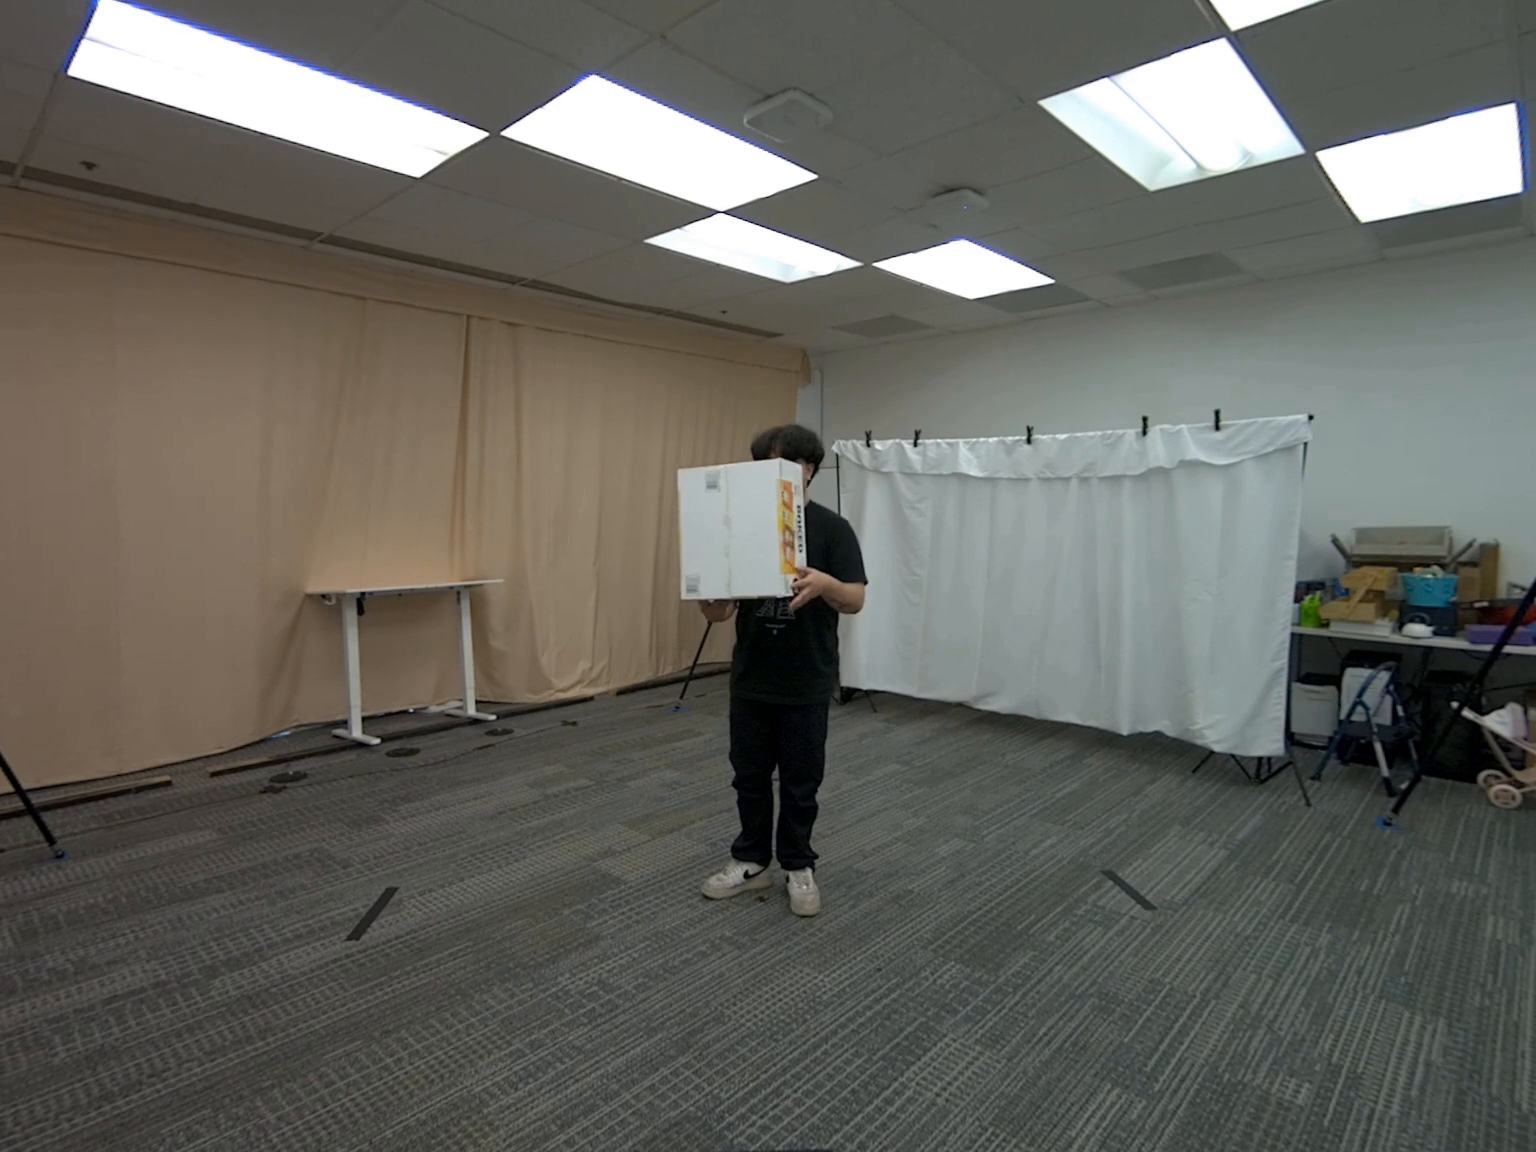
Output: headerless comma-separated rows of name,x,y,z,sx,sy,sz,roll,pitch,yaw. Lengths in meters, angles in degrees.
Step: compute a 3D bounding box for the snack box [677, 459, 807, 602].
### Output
snack box,-0.078,-0.126,2.602,0.348,0.405,0.201,-3,-2,24
